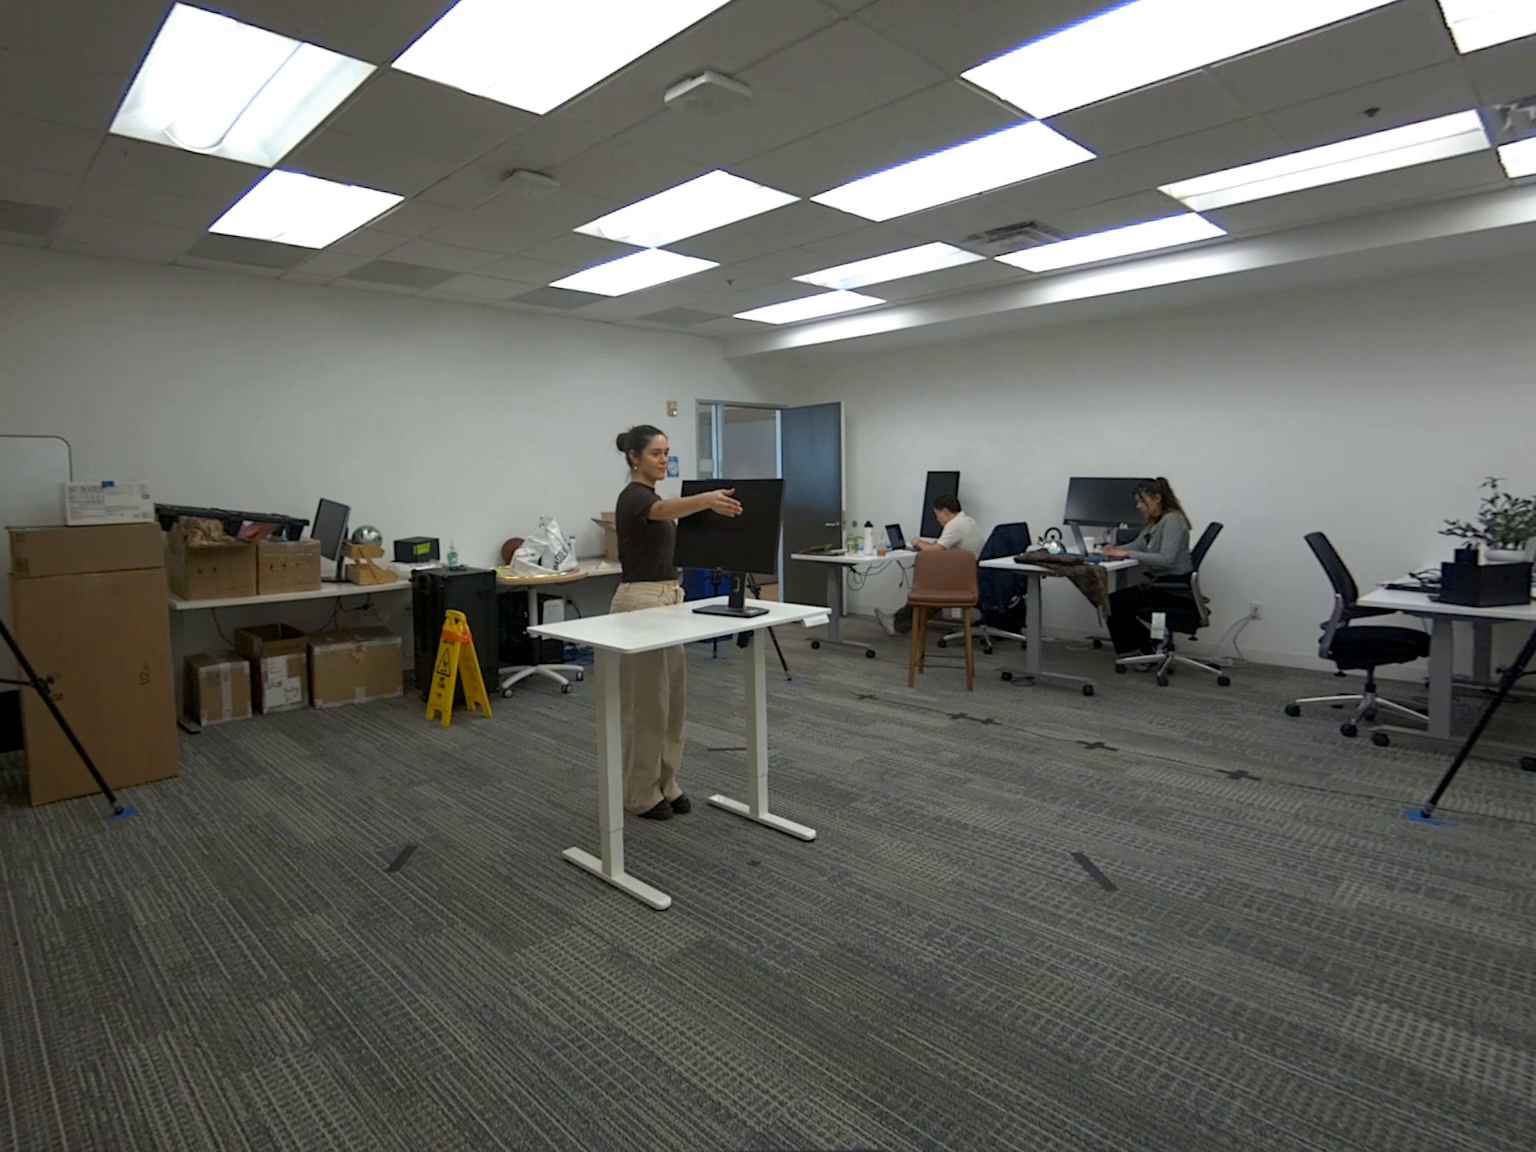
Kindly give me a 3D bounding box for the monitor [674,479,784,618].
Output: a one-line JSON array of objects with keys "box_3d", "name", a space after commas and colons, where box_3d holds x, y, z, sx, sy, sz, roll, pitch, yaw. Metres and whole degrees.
[{"box_3d": [-0.145, -0.109, 3.280, 0.555, 0.520, 0.182, 3, 7, 44], "name": "monitor"}]
